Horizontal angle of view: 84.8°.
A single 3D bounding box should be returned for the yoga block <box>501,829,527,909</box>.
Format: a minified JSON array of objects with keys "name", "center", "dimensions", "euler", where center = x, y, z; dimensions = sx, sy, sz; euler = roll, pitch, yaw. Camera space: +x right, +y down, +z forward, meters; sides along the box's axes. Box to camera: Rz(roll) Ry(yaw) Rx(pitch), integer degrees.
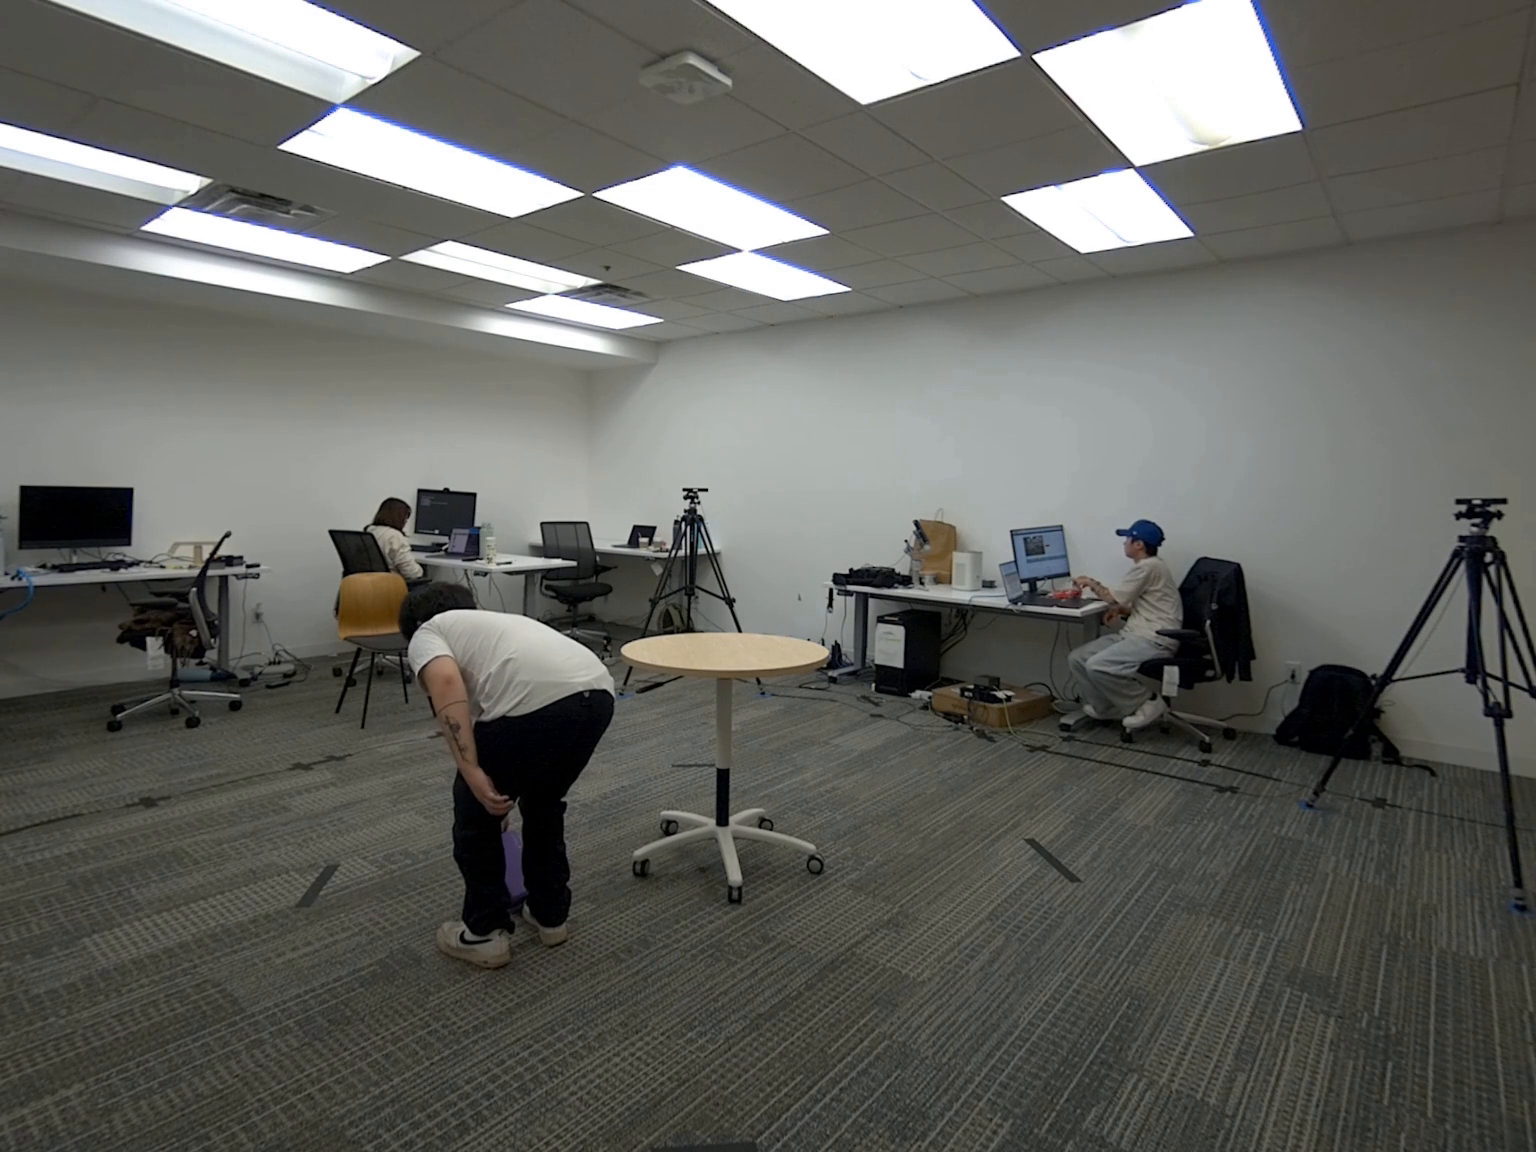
[{"name":"yoga block","center":[-0.865,0.977,2.839],"dimensions":[0.237,0.076,0.145],"euler":[45,30,23]}]
